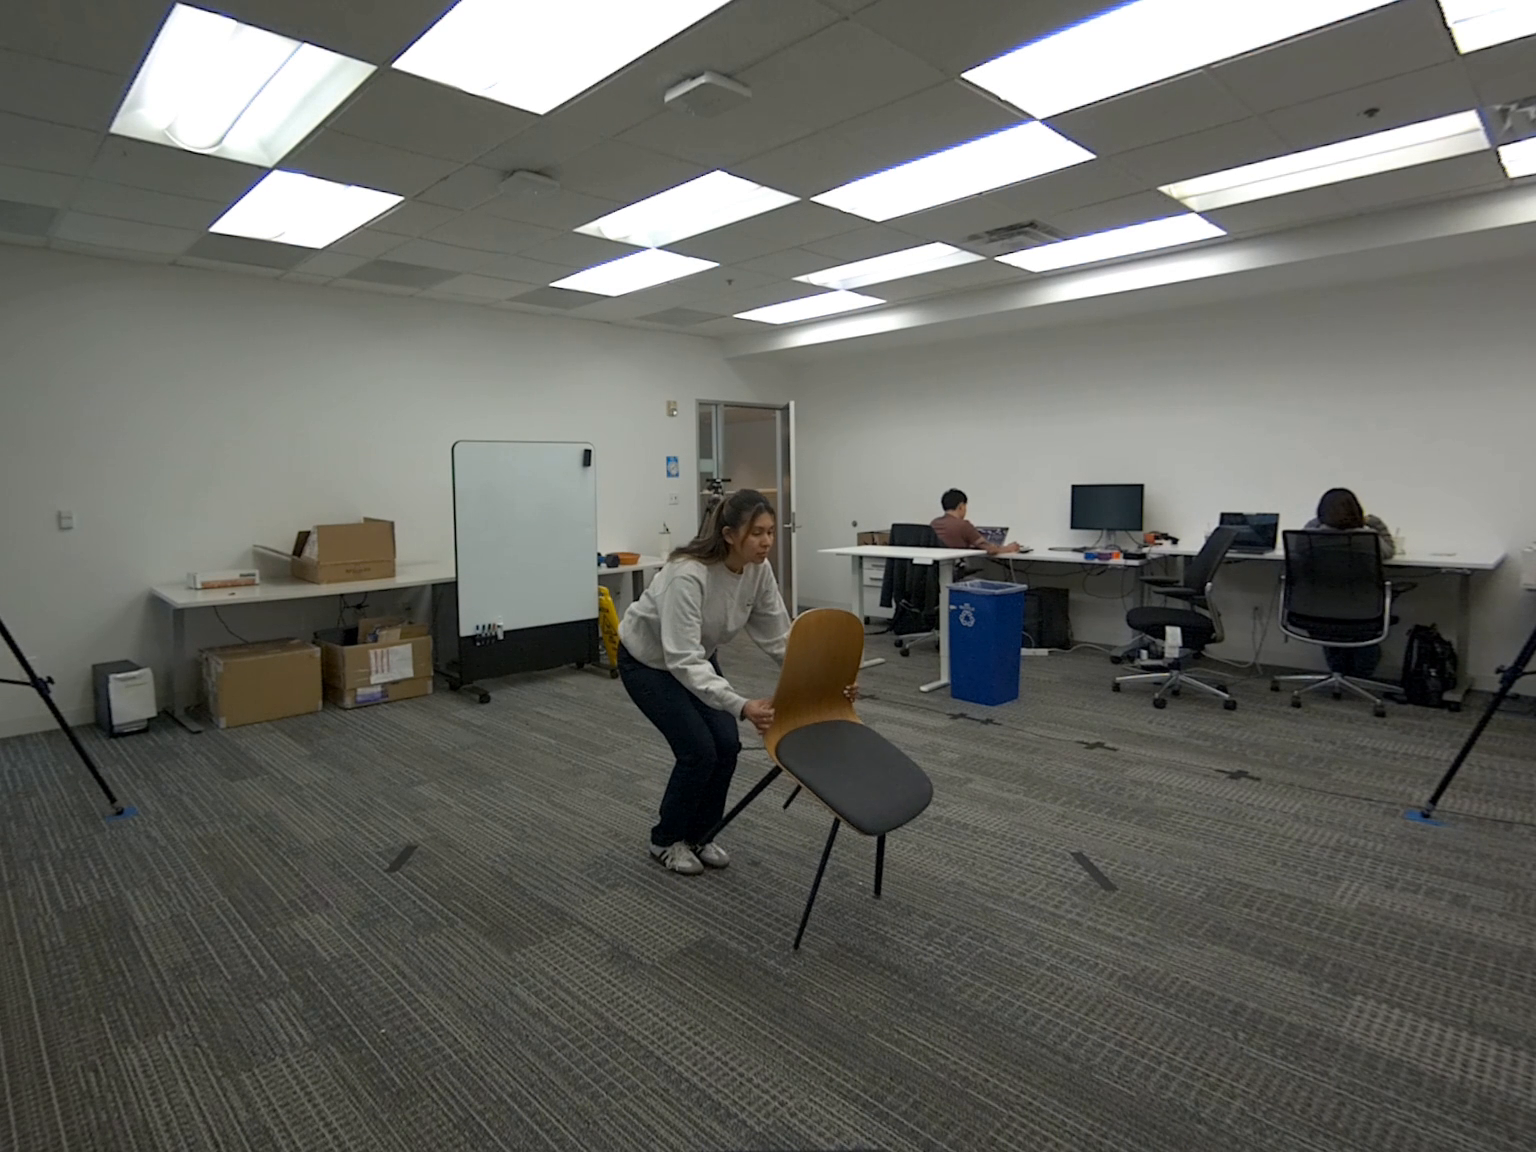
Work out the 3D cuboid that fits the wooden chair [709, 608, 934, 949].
[{"bbox_3d":[0.213,0.605,2.660,0.543,0.868,0.465,32,24,36],"label":"wooden chair"}]
